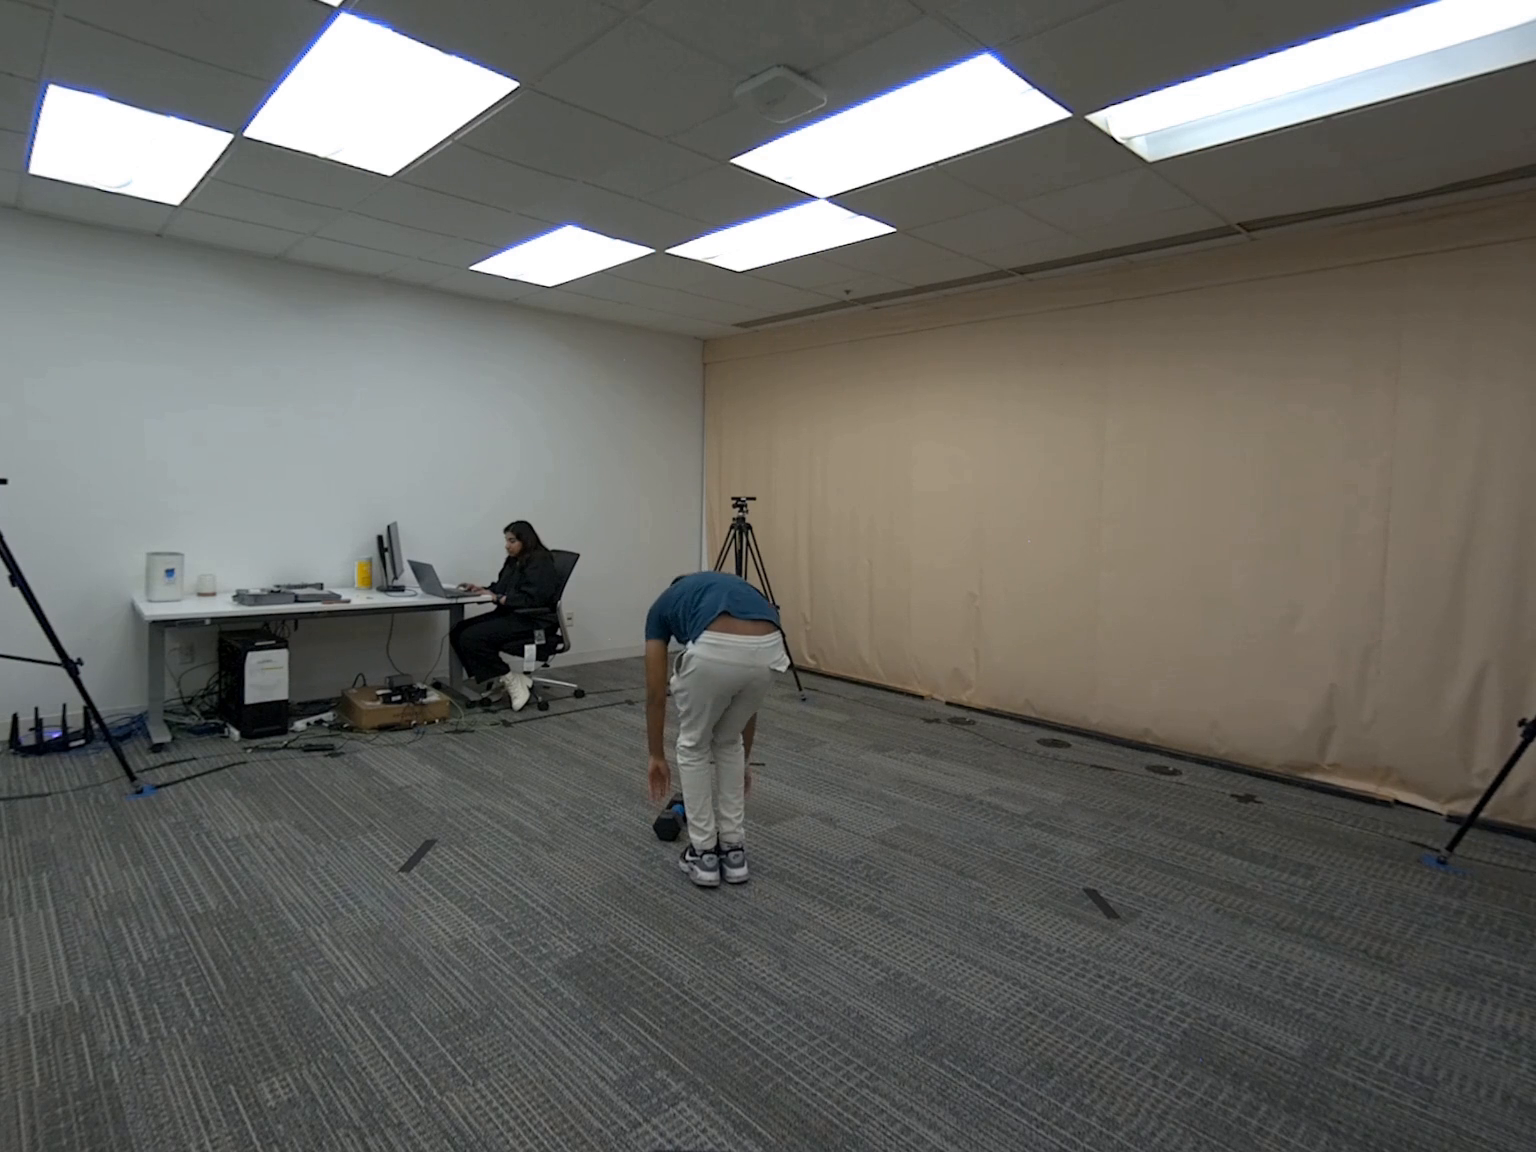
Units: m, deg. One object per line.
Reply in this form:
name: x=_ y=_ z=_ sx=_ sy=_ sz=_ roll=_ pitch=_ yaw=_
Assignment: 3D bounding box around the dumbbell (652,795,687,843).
dumbbell: x=-0.405 y=1.008 z=3.540 sx=0.124 sy=0.108 sz=0.292 roll=1 pitch=5 yaw=9
